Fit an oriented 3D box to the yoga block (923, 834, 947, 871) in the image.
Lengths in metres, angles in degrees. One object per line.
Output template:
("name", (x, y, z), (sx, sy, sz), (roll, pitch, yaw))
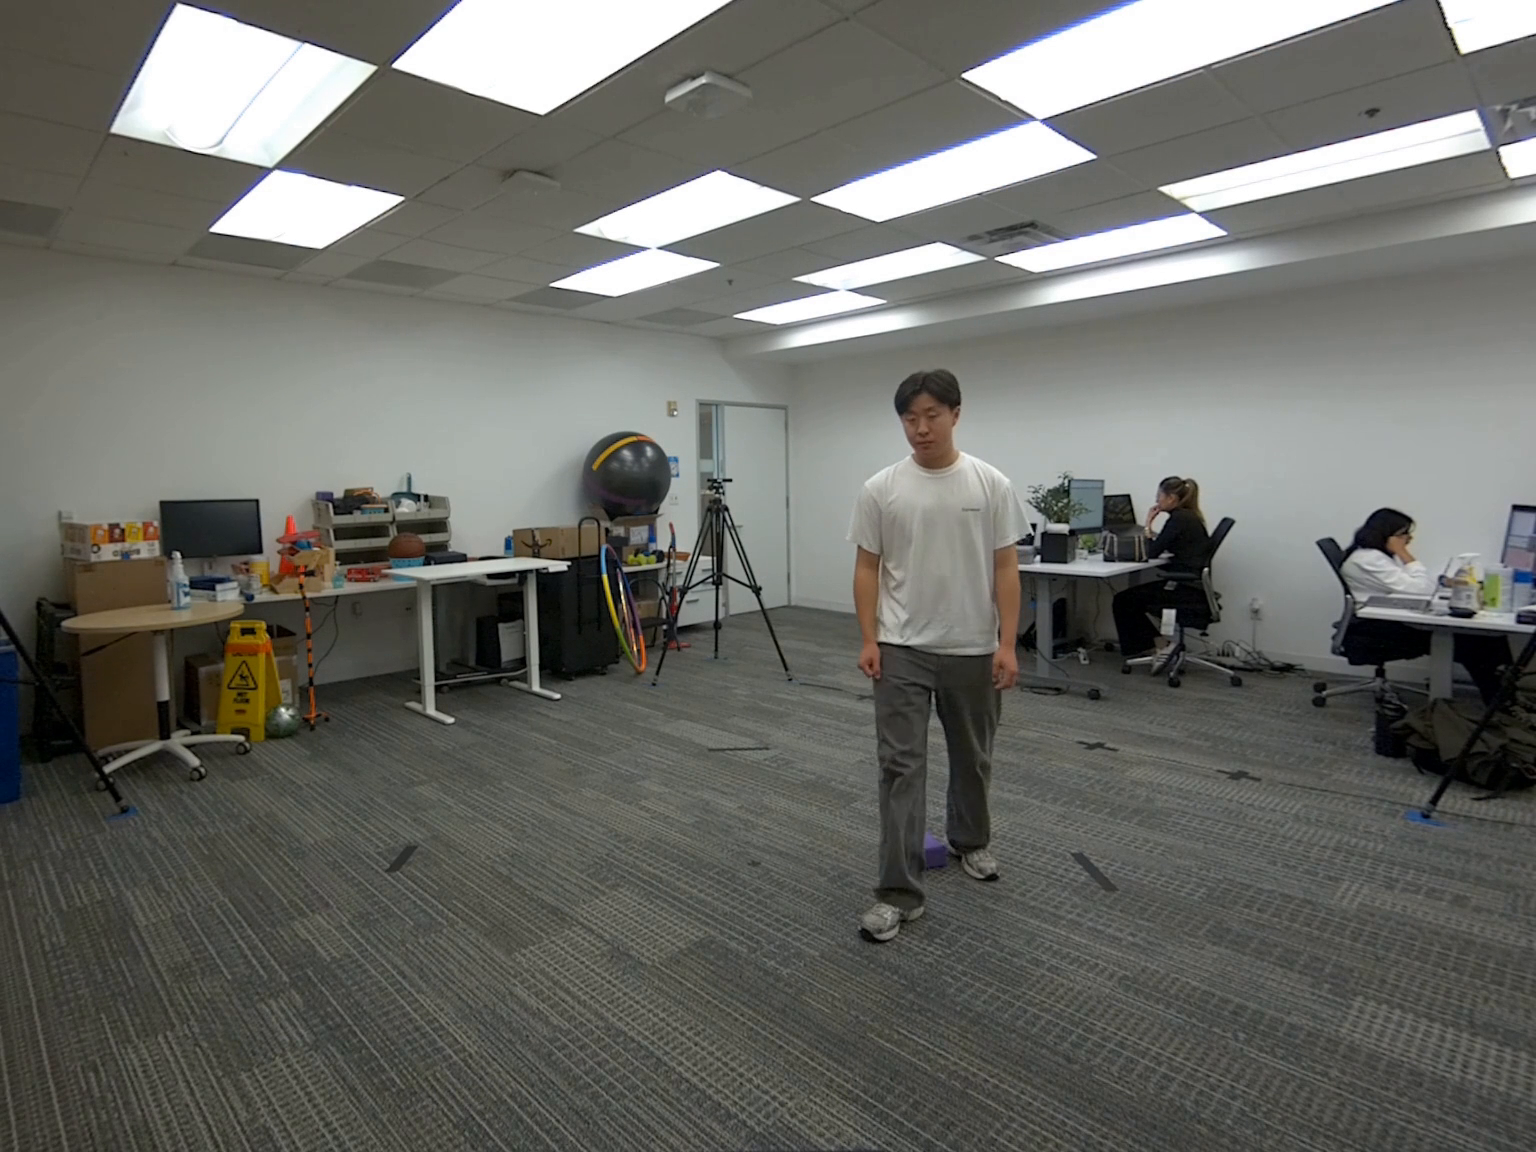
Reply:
("yoga block", (0.542, 0.995, 3.147), (0.147, 0.076, 0.233), (-2, 6, -16))
